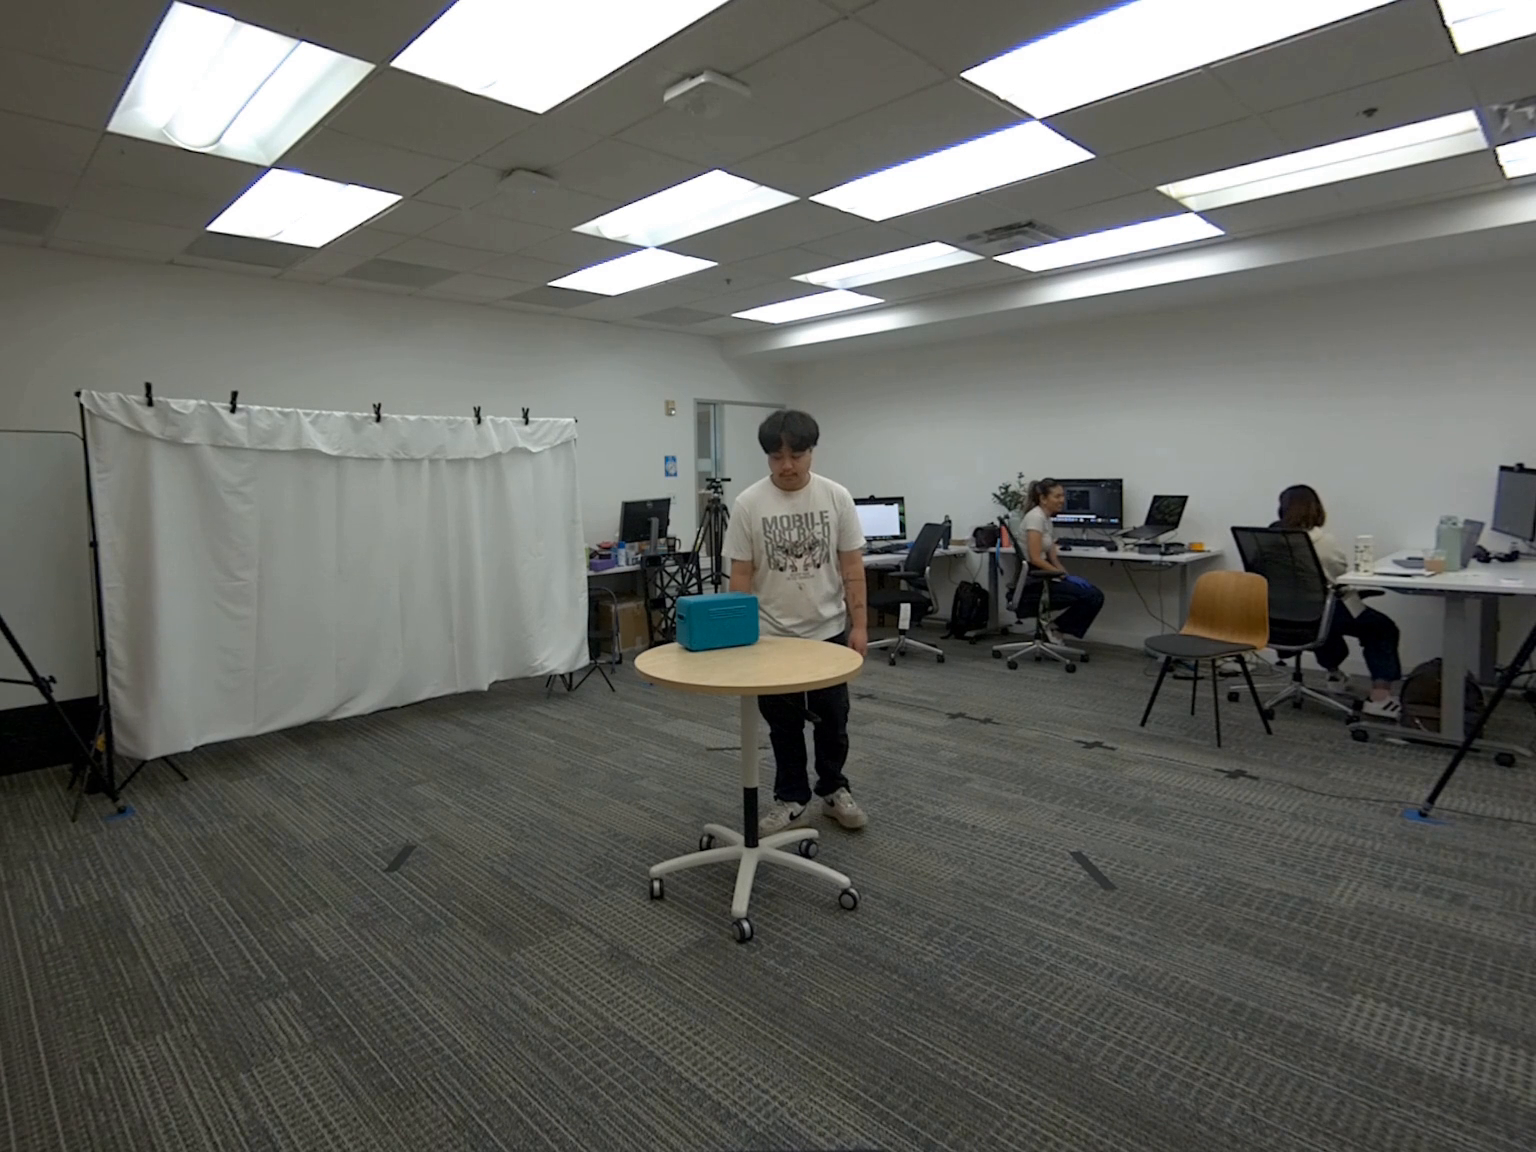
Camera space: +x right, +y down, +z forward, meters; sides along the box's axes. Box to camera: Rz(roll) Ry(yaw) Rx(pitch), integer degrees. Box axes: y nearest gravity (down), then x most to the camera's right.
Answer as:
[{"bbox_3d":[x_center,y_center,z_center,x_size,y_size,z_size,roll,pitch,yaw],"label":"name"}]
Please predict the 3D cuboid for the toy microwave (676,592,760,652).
[{"bbox_3d":[-0.187,0.162,3.084,0.281,0.183,0.156,-3,5,-22],"label":"toy microwave"}]
